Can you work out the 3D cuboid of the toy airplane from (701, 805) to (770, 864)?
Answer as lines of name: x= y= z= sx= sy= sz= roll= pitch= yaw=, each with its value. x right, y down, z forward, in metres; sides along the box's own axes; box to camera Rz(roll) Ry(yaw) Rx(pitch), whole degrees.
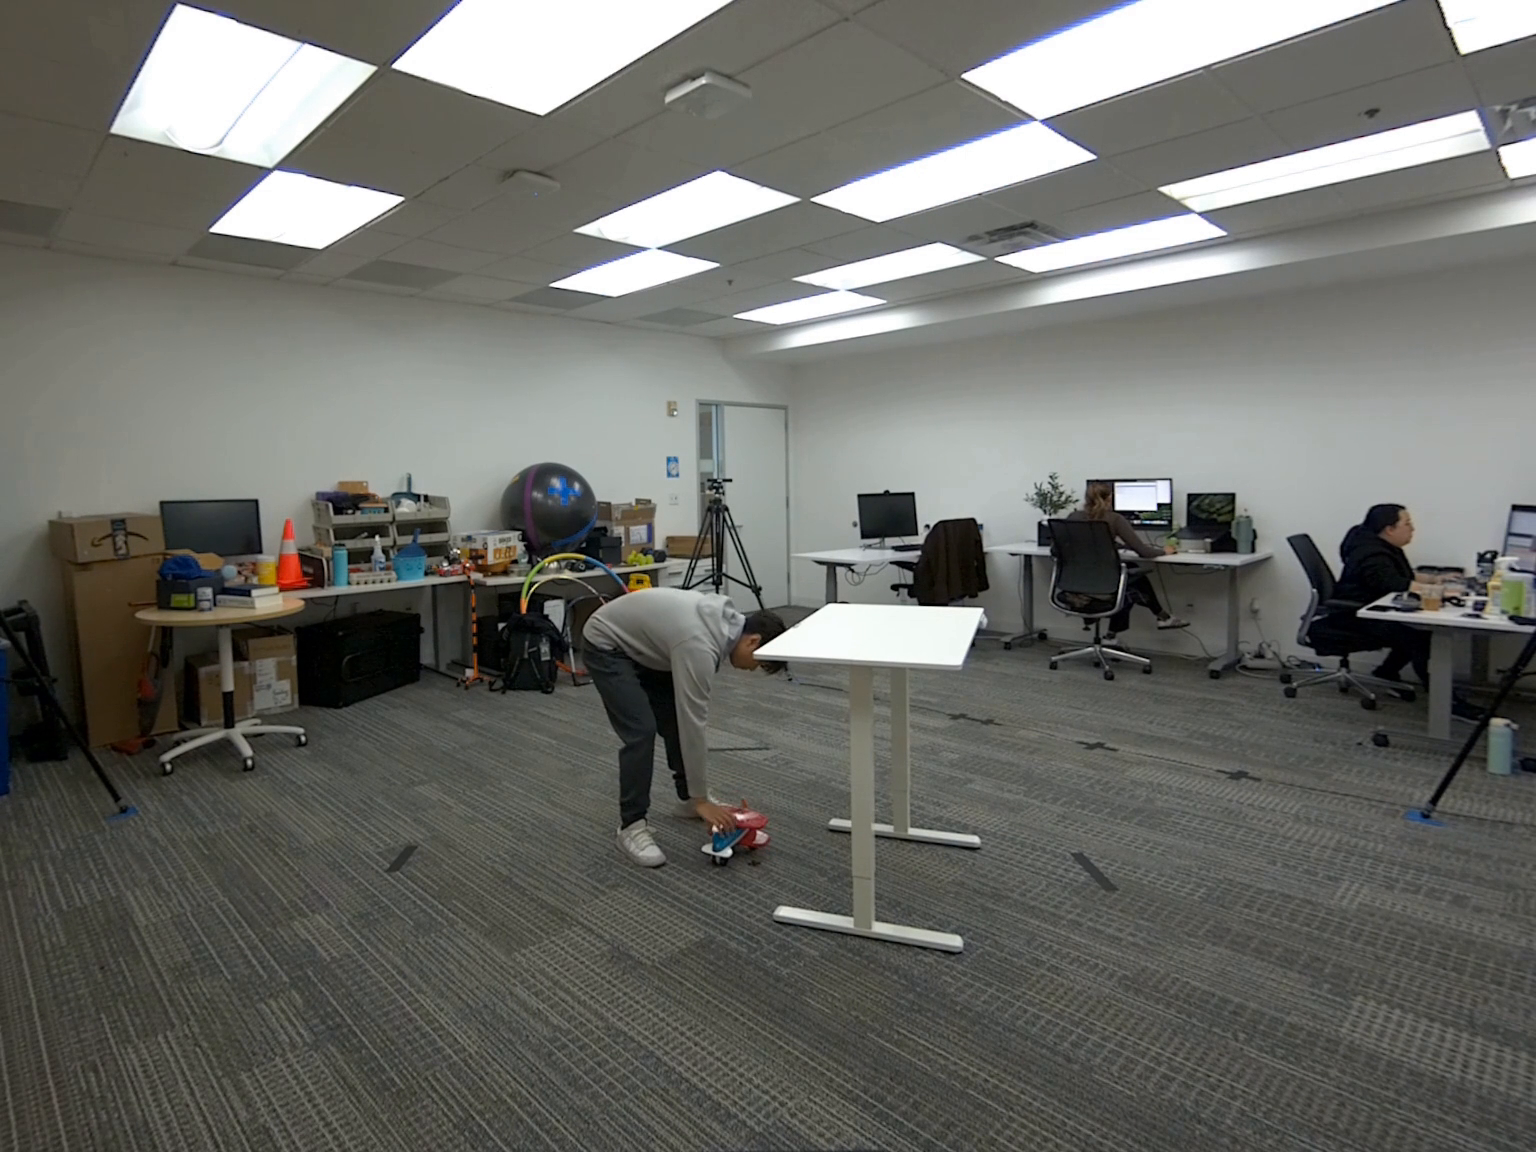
toy airplane: x=-0.116 y=0.963 z=3.163 sx=0.251 sy=0.156 sz=0.259 roll=-1 pitch=4 yaw=1
